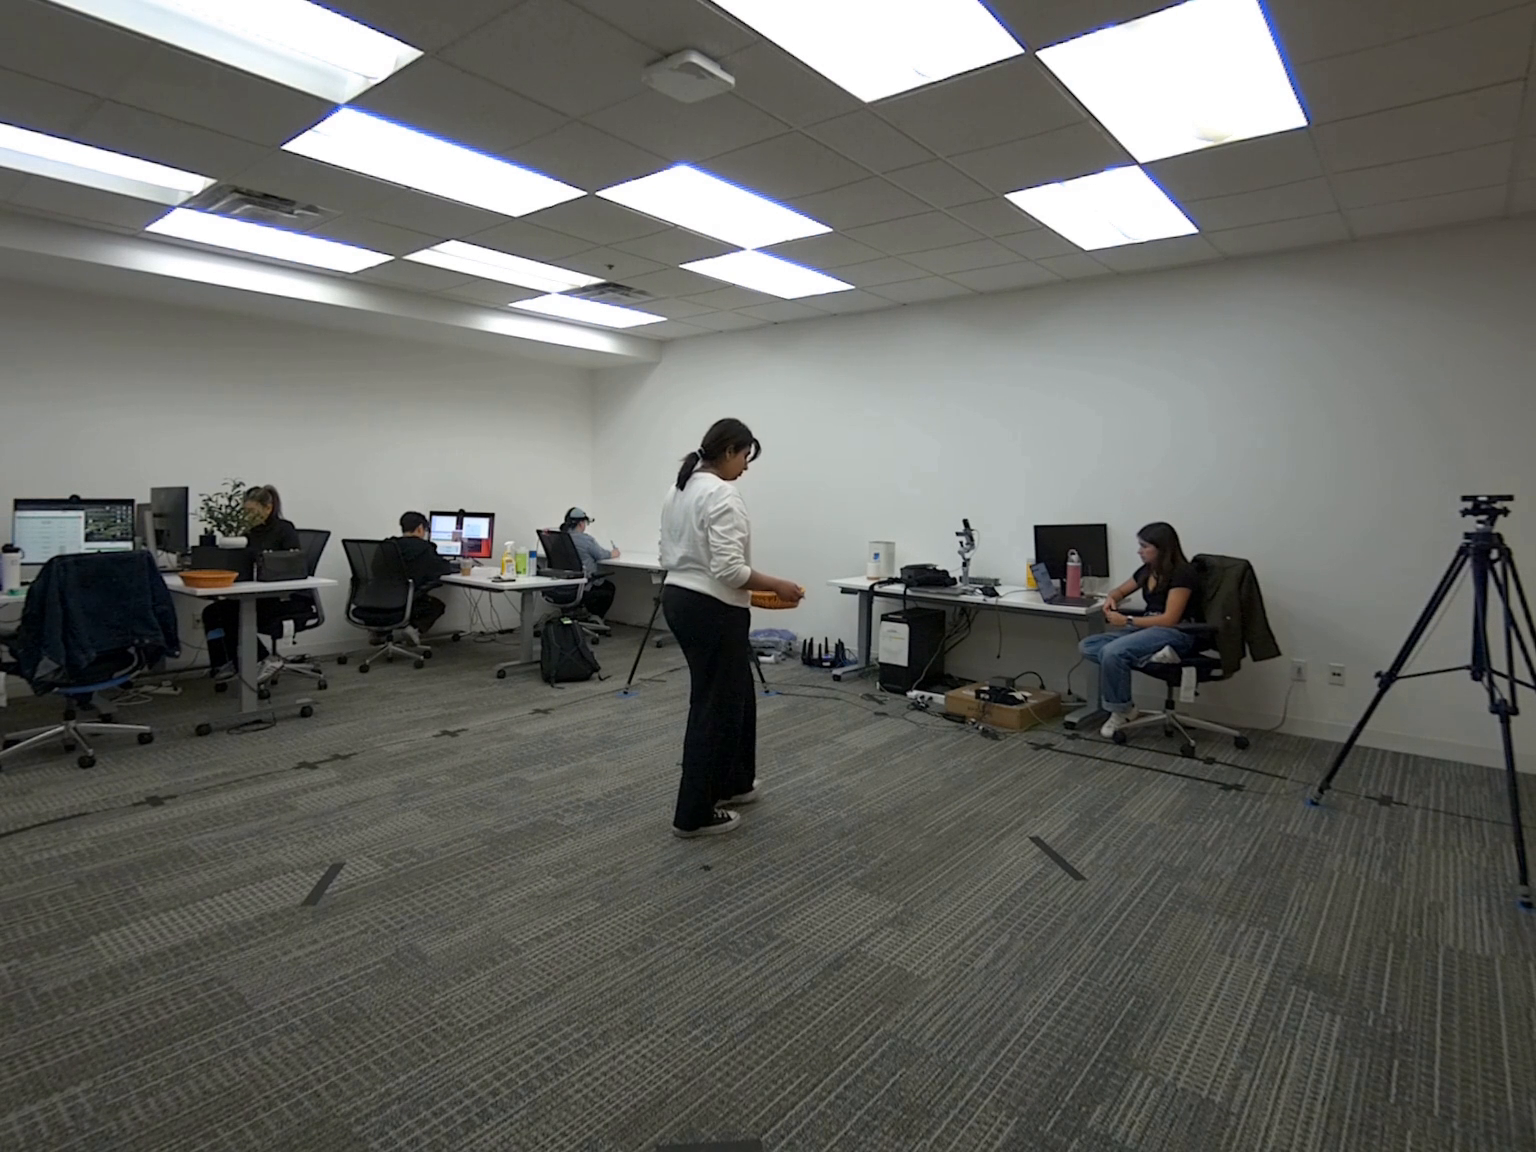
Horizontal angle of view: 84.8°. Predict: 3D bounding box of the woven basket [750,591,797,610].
[{"bbox_3d":[-0.002,0.090,3.586,0.246,0.073,0.362,-7,11,-32],"label":"woven basket"}]
